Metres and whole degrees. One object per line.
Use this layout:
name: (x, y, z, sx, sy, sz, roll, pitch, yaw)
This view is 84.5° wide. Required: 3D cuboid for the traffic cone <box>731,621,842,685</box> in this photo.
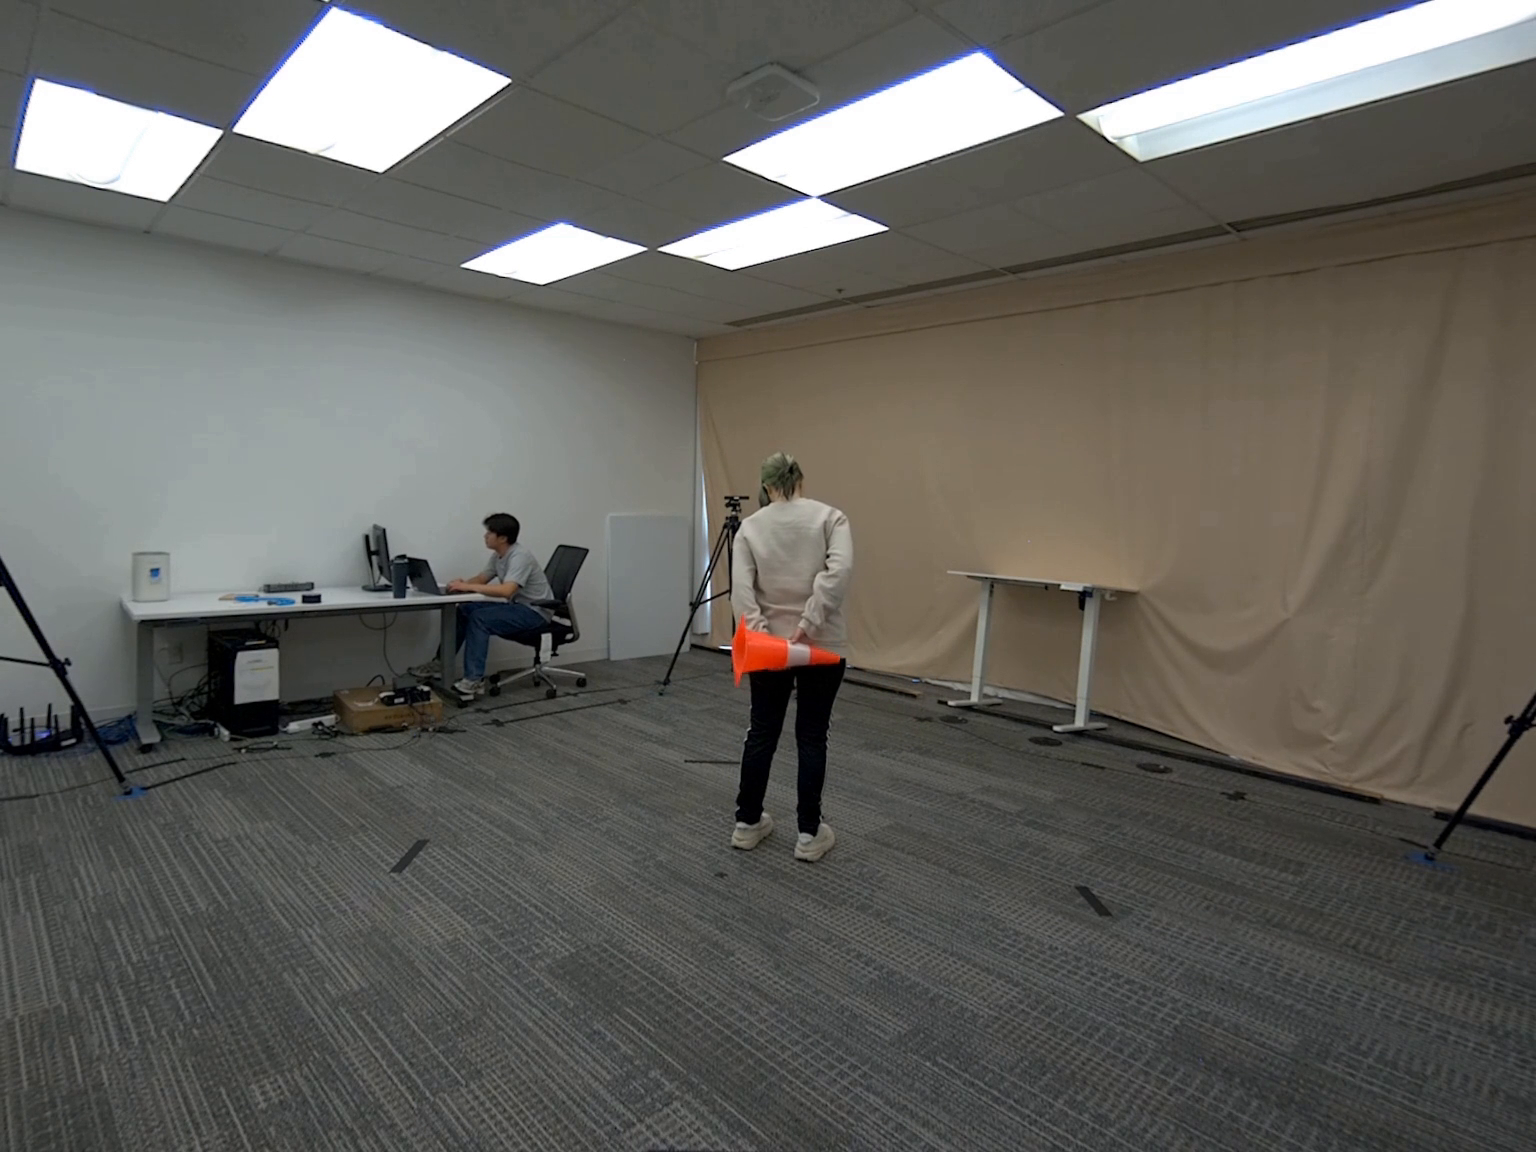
traffic cone: (0.062, 0.292, 3.041, 0.380, 0.209, 0.200, 7, -42, -10)
